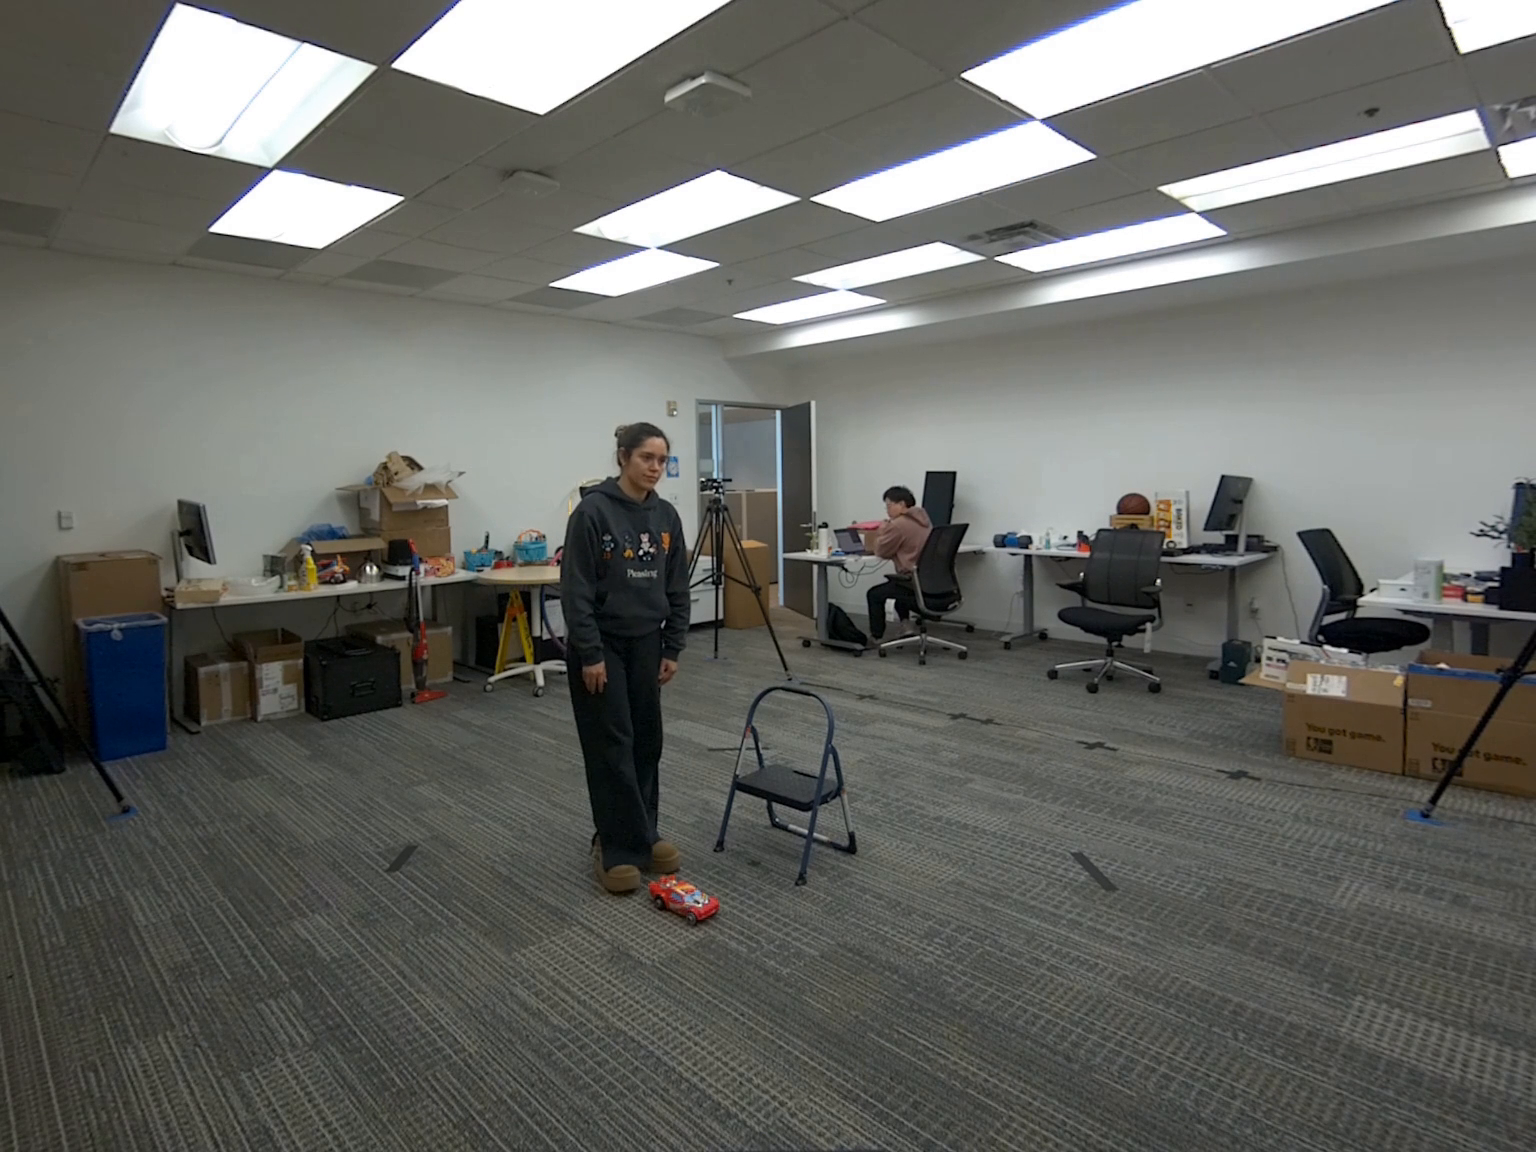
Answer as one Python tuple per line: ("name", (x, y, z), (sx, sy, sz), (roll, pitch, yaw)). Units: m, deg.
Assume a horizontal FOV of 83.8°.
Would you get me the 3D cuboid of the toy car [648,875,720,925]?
("toy car", (-0.279, 1.056, 2.772), (0.264, 0.082, 0.127), (18, 17, 40))
